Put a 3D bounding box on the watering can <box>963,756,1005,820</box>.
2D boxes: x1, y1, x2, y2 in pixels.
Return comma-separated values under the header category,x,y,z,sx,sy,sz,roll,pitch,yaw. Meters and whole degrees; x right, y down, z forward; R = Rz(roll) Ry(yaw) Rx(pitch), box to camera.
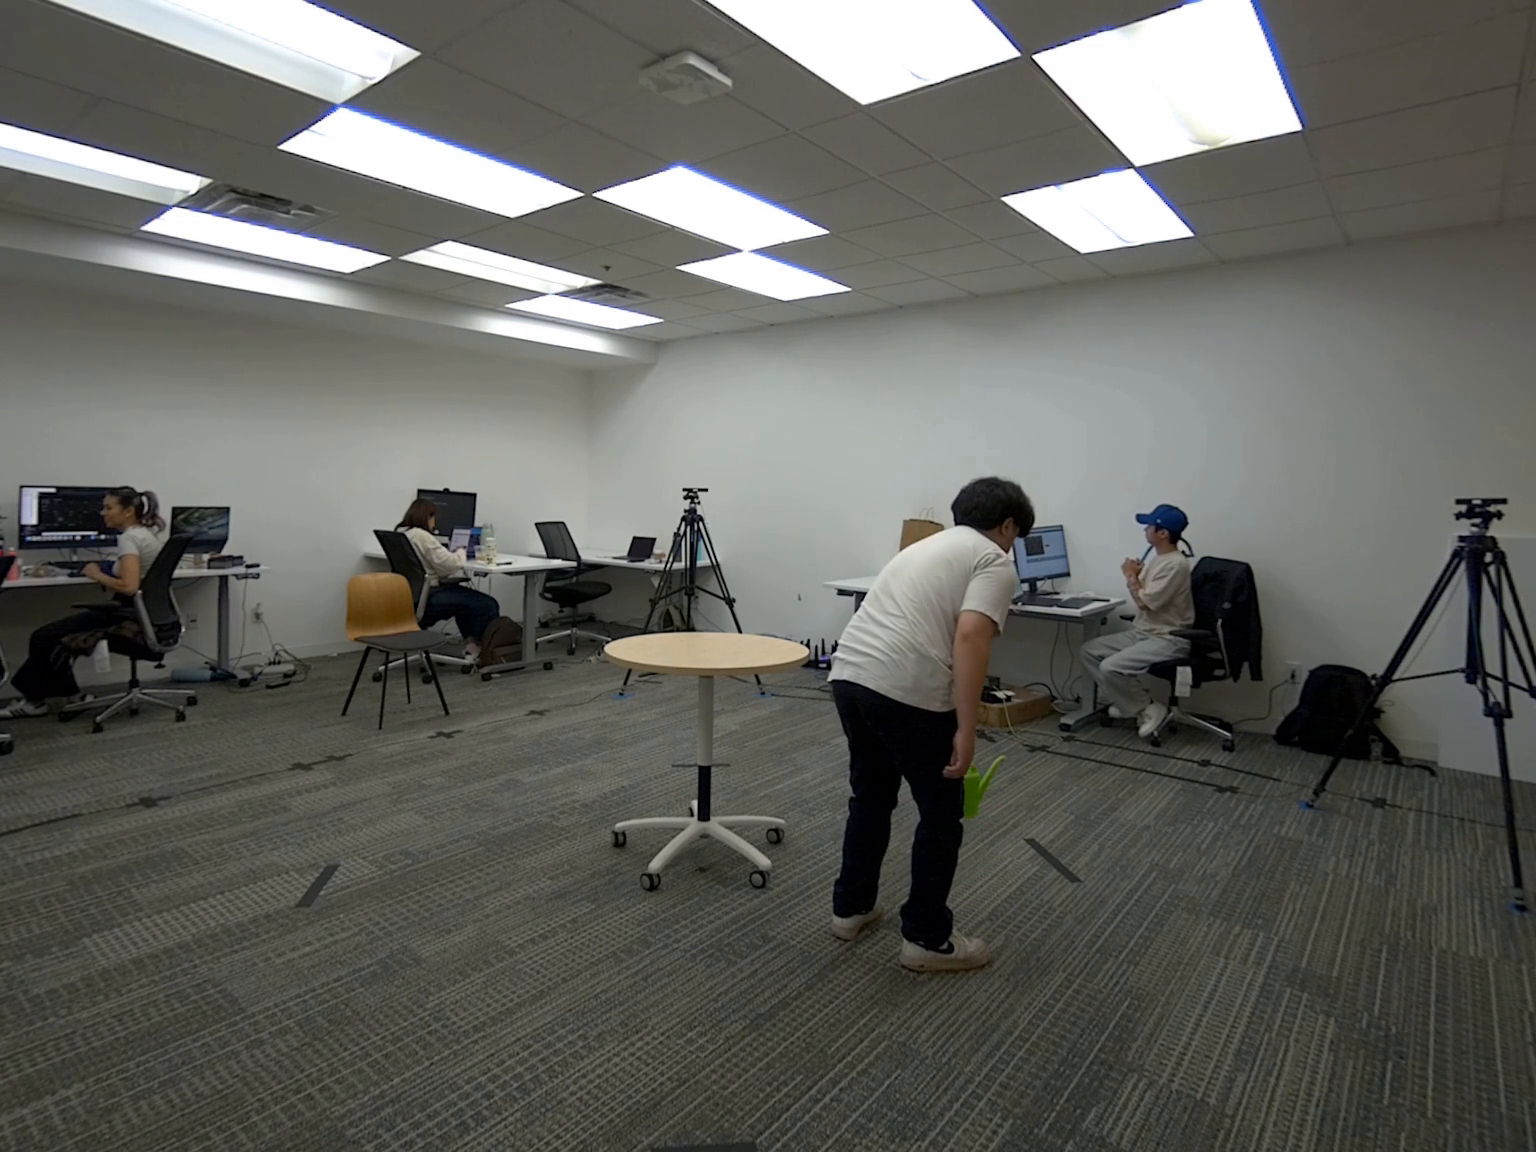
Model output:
category,x,y,z,sx,sy,sz,roll,pitch,yaw
watering can,0.681,0.695,2.820,0.275,0.176,0.100,0,6,-12
